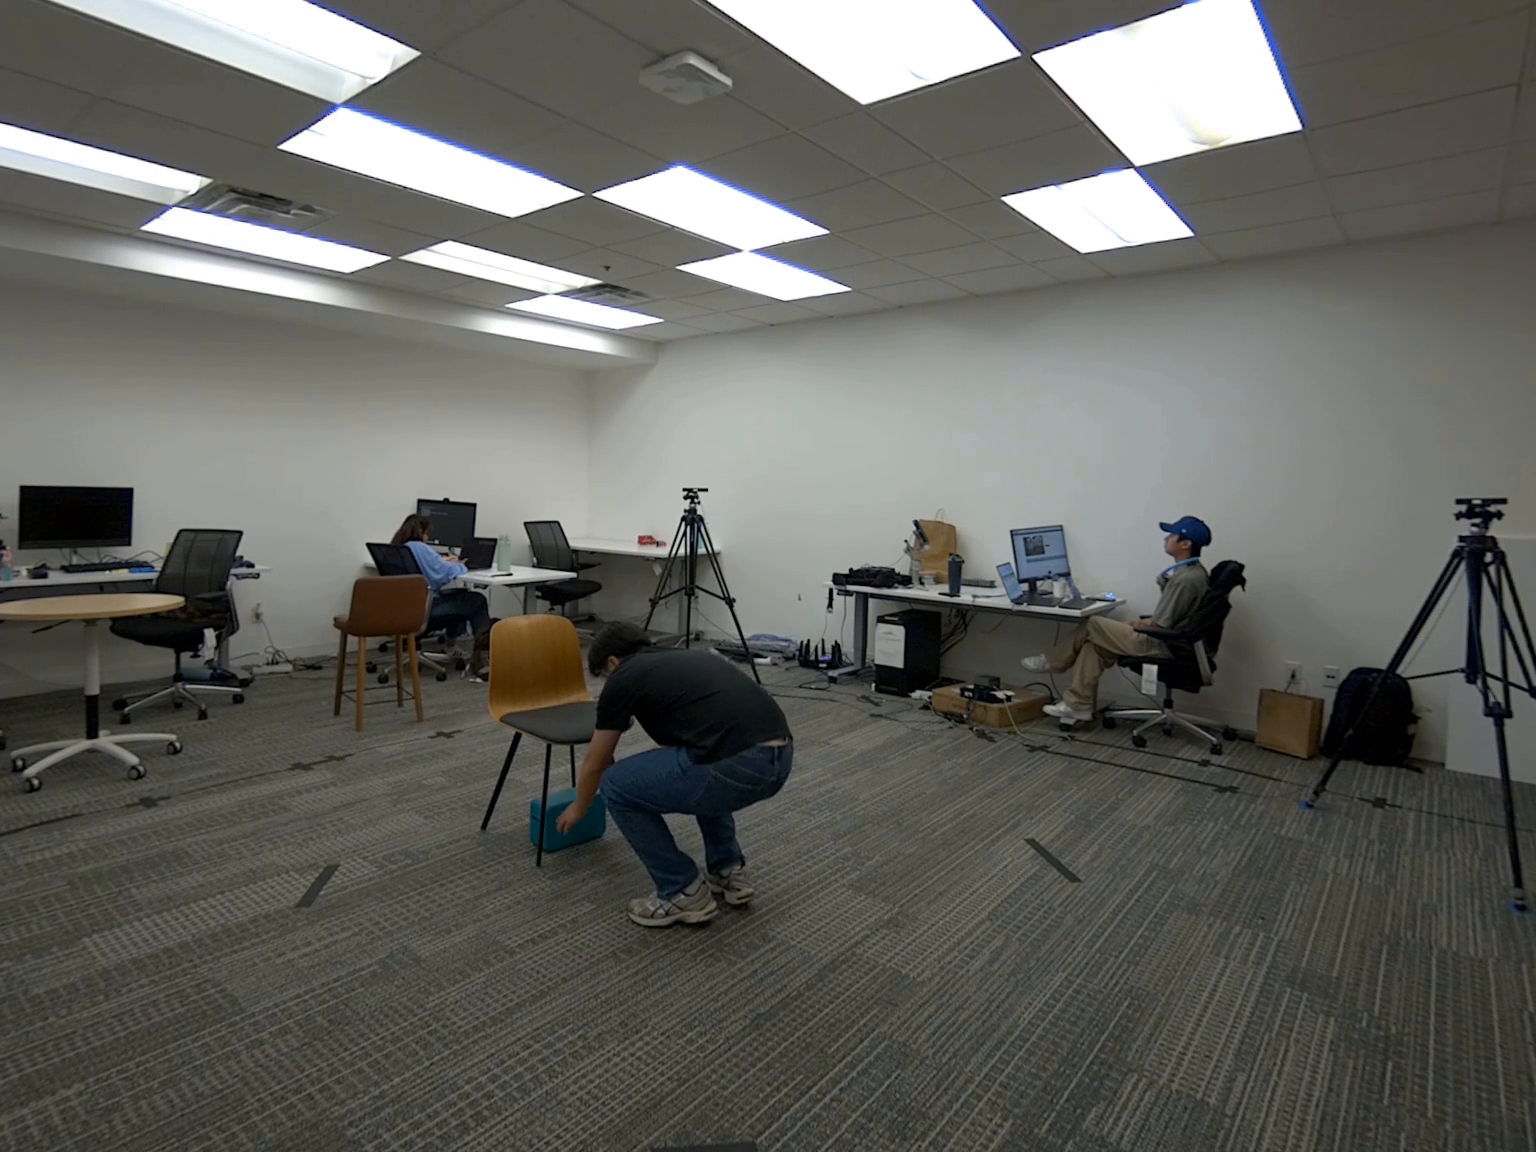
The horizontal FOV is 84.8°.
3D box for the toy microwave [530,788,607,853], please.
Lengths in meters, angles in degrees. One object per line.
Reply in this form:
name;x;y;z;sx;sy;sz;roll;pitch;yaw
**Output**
toy microwave;-0.804;0.945;3.342;0.278;0.183;0.157;-4;6;-43
